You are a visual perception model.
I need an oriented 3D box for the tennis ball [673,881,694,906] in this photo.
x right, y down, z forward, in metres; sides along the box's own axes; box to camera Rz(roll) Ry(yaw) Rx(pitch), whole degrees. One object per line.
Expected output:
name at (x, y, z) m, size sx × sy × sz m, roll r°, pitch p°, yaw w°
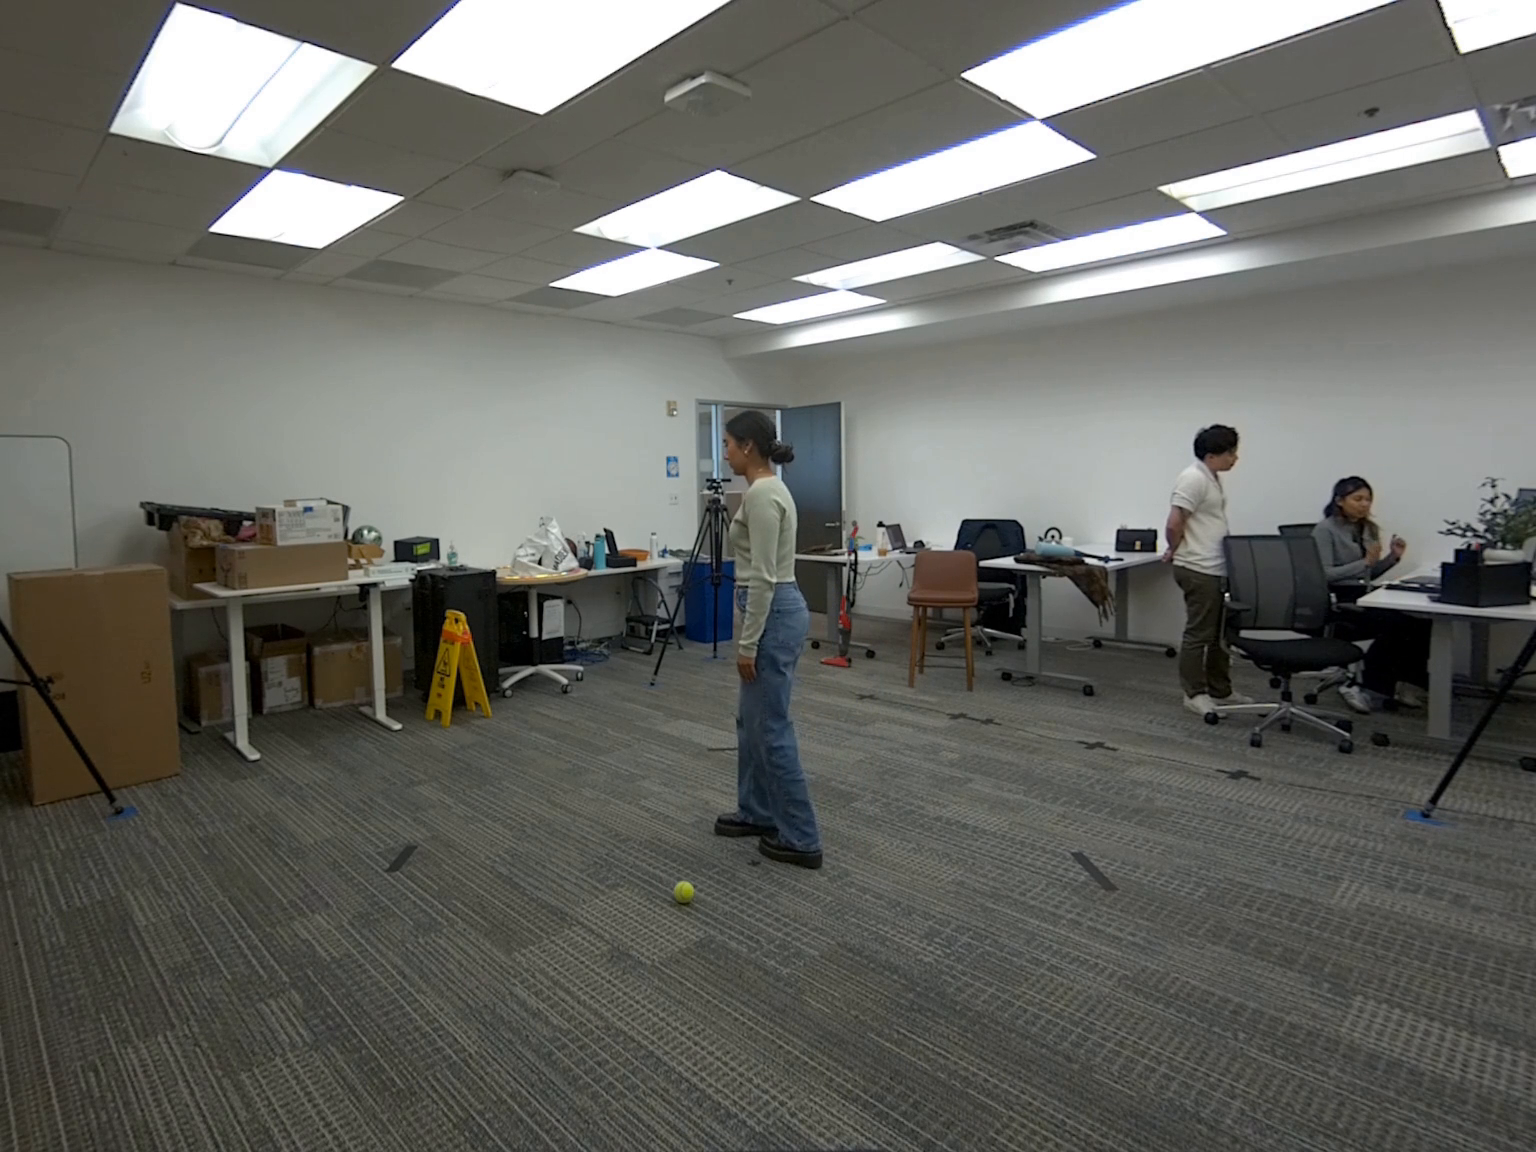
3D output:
tennis ball at (-0.275, 1.029, 2.821) m, size 0.066 × 0.066 × 0.067 m, roll -1°, pitch 5°, yaw -2°
